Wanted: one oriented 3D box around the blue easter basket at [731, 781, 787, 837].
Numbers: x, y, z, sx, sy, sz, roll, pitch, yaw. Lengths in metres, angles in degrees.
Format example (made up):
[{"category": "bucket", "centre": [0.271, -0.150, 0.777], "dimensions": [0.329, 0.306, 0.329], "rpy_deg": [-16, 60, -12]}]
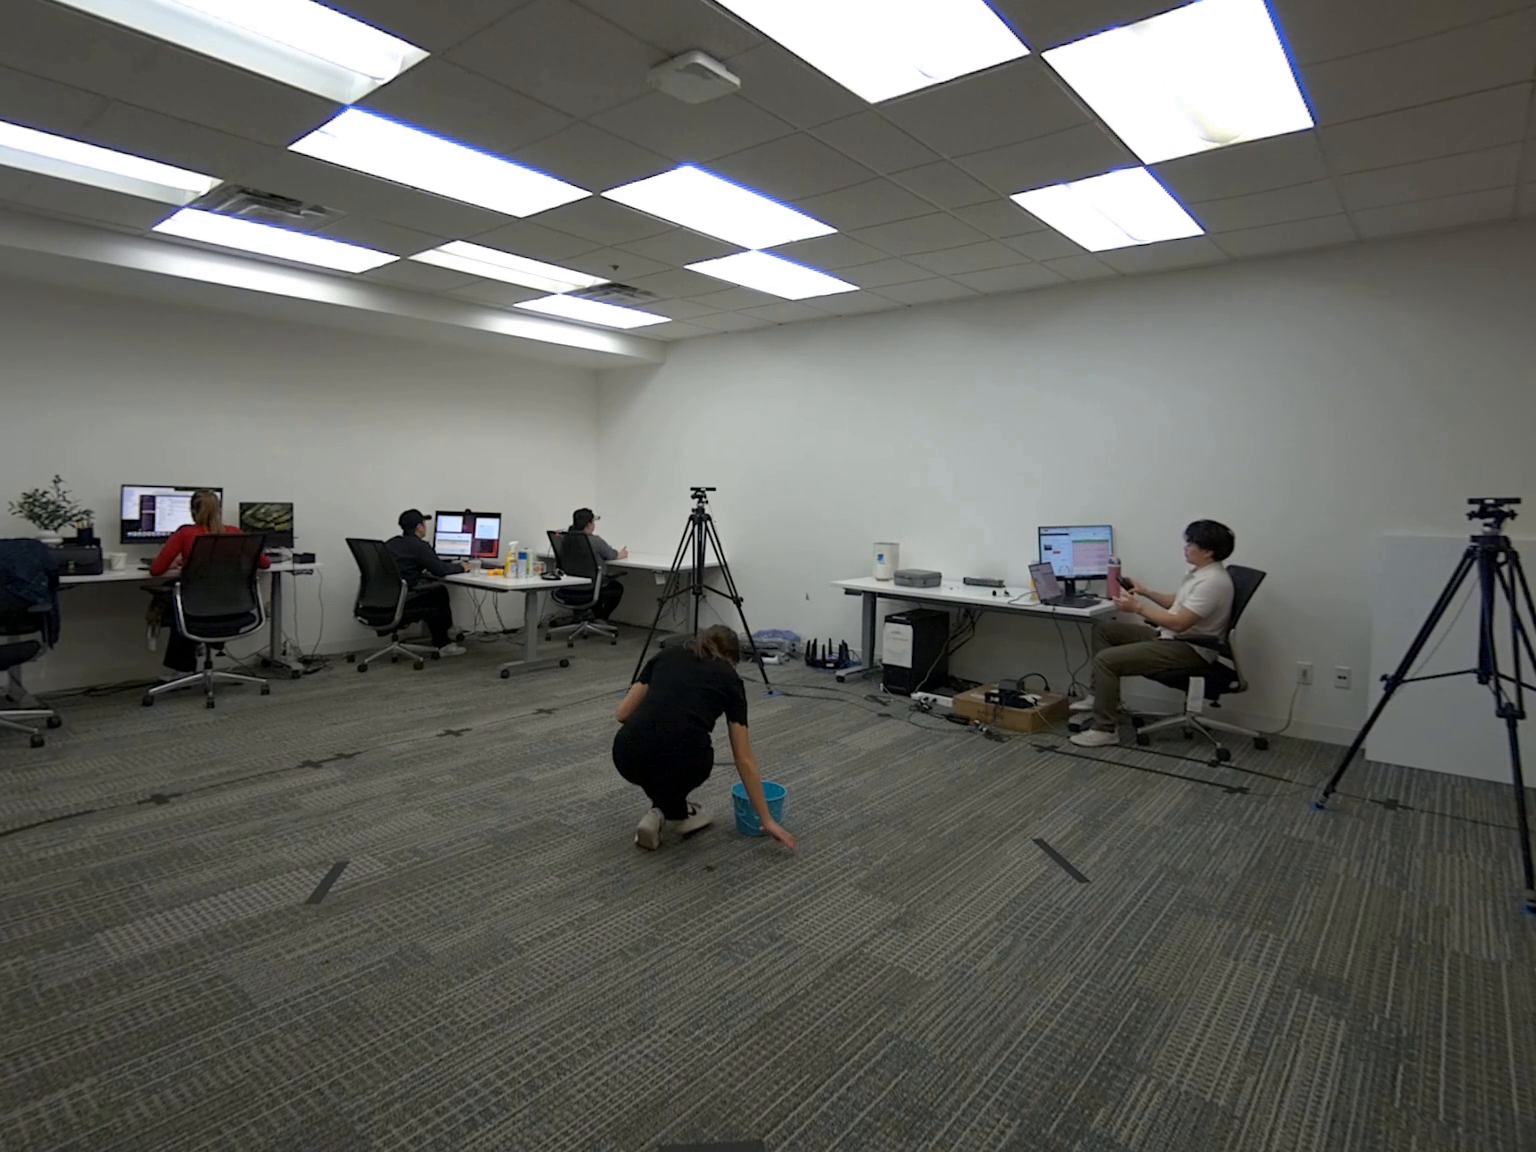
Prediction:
[{"category": "blue easter basket", "centre": [-0.044, 0.955, 3.502], "dimensions": [0.243, 0.155, 0.245], "rpy_deg": [1, 4, -2]}]
